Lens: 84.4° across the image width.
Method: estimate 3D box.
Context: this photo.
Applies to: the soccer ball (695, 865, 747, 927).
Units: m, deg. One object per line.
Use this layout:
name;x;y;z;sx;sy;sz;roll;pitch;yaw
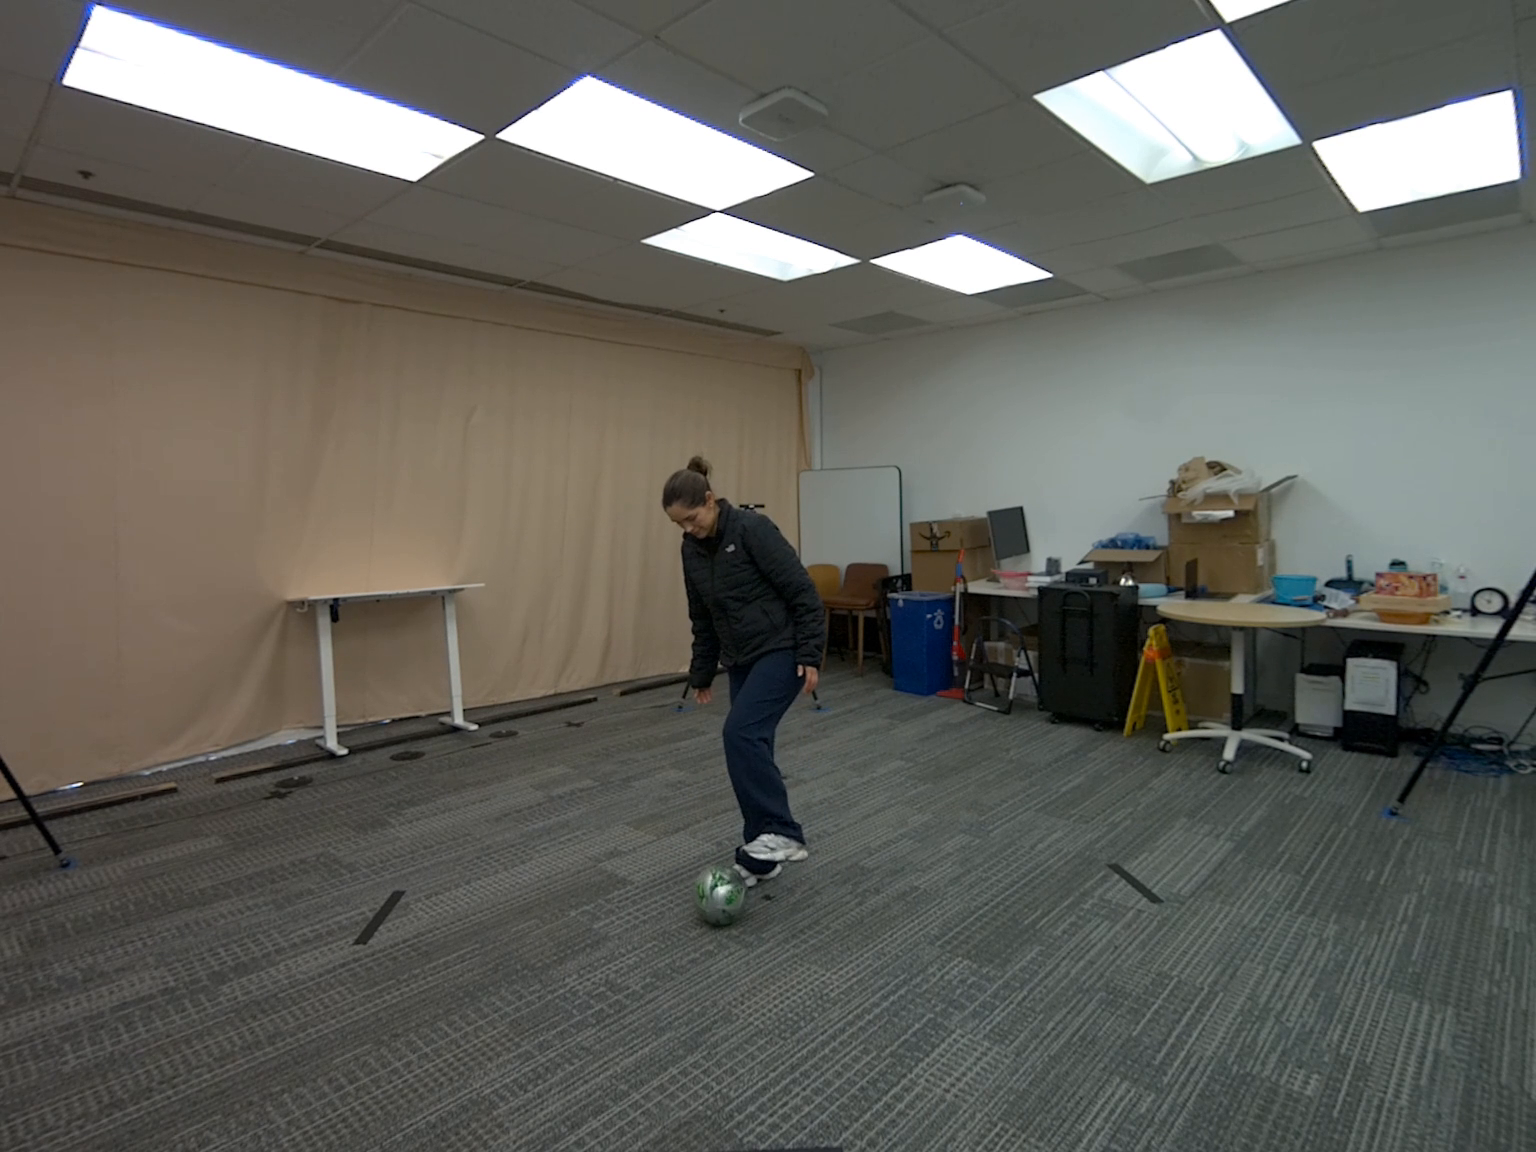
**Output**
soccer ball;-0.154;1.061;2.808;0.187;0.187;0.188;-1;4;-2
